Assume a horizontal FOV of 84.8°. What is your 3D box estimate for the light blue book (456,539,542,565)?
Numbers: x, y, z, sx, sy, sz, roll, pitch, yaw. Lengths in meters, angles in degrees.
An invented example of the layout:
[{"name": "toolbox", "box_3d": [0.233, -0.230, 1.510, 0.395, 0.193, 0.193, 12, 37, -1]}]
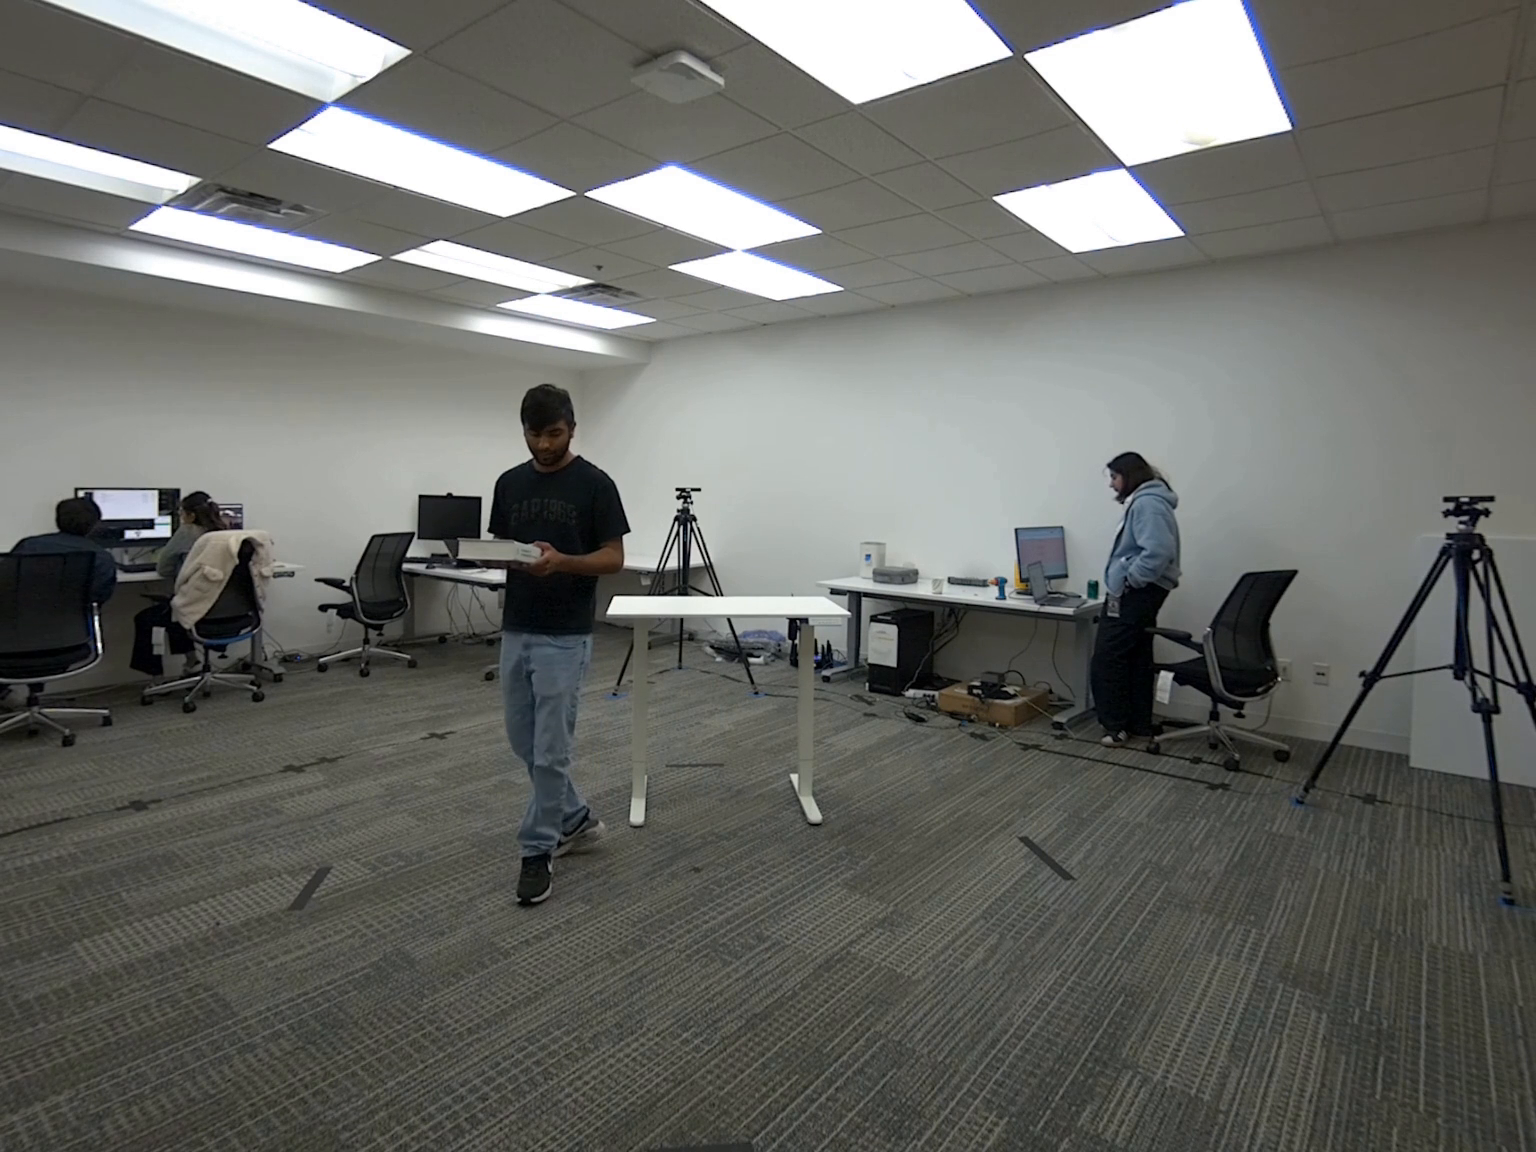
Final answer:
[{"name": "light blue book", "box_3d": [-0.861, -0.075, 2.663, 0.192, 0.059, 0.258, 2, -2, 4]}]
